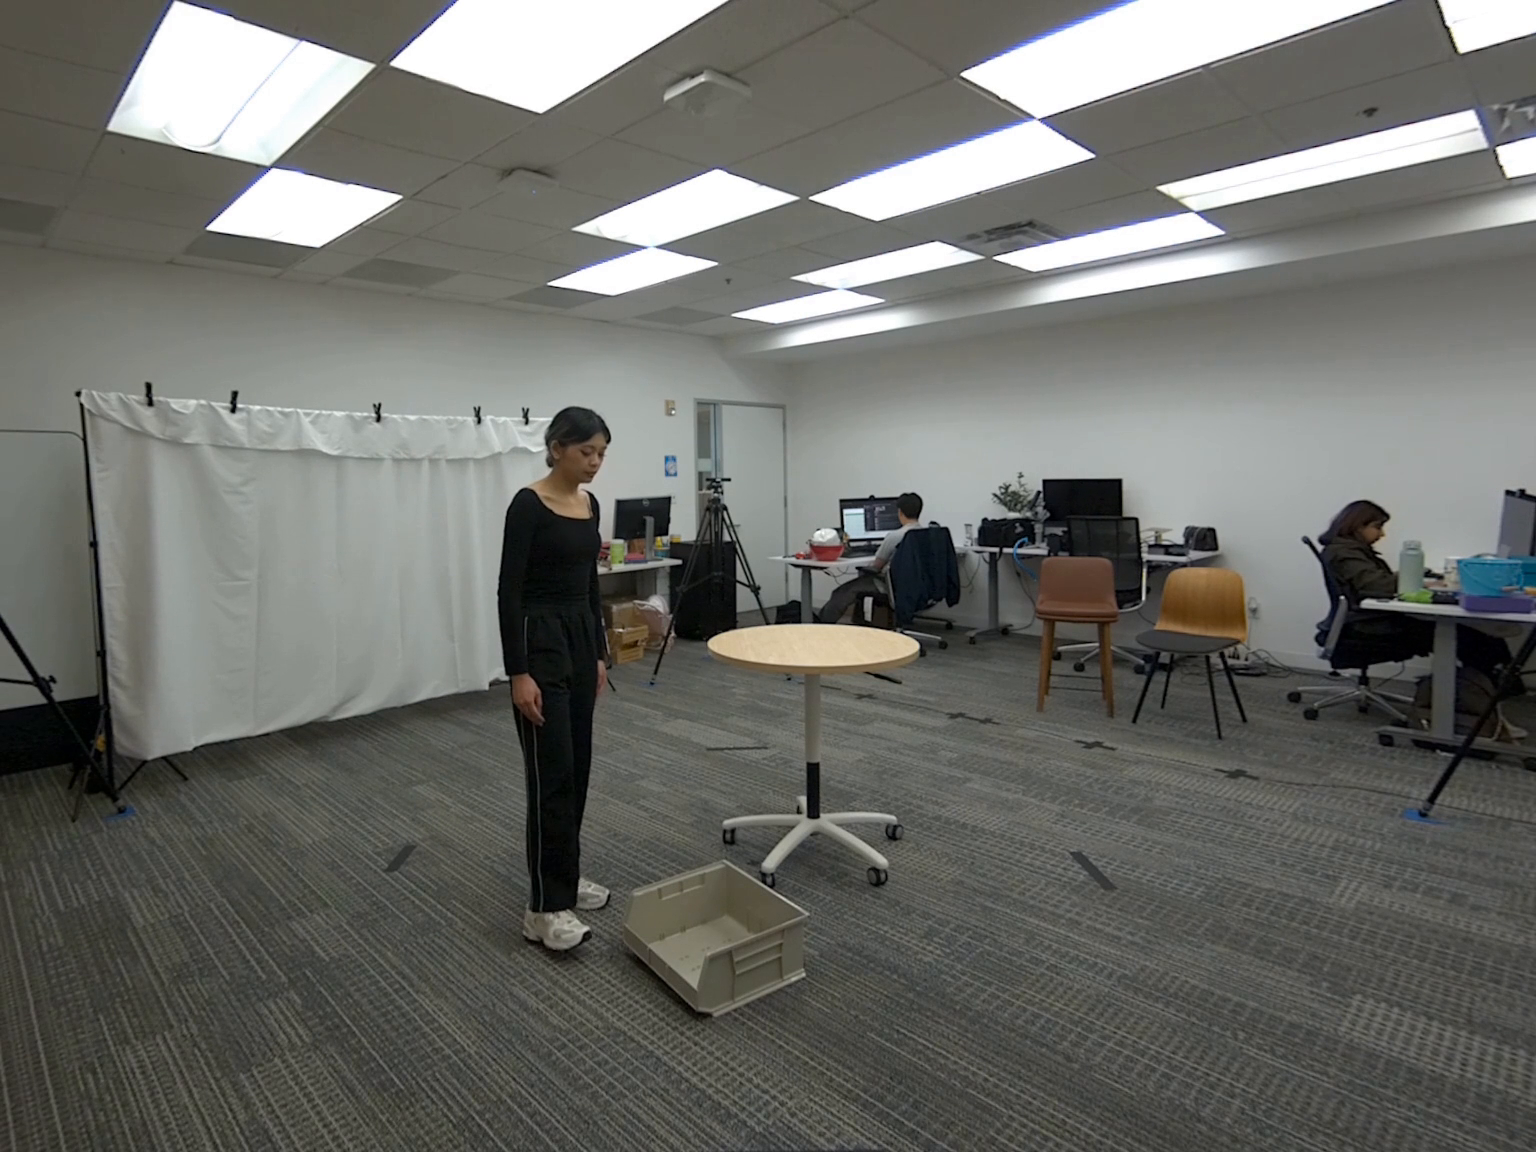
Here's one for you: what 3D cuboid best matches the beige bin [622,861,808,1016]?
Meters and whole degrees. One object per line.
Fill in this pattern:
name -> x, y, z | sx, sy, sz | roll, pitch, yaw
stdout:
beige bin -> -0.154, 1.032, 2.455 | 0.368, 0.188, 0.435 | -5, 7, -35
